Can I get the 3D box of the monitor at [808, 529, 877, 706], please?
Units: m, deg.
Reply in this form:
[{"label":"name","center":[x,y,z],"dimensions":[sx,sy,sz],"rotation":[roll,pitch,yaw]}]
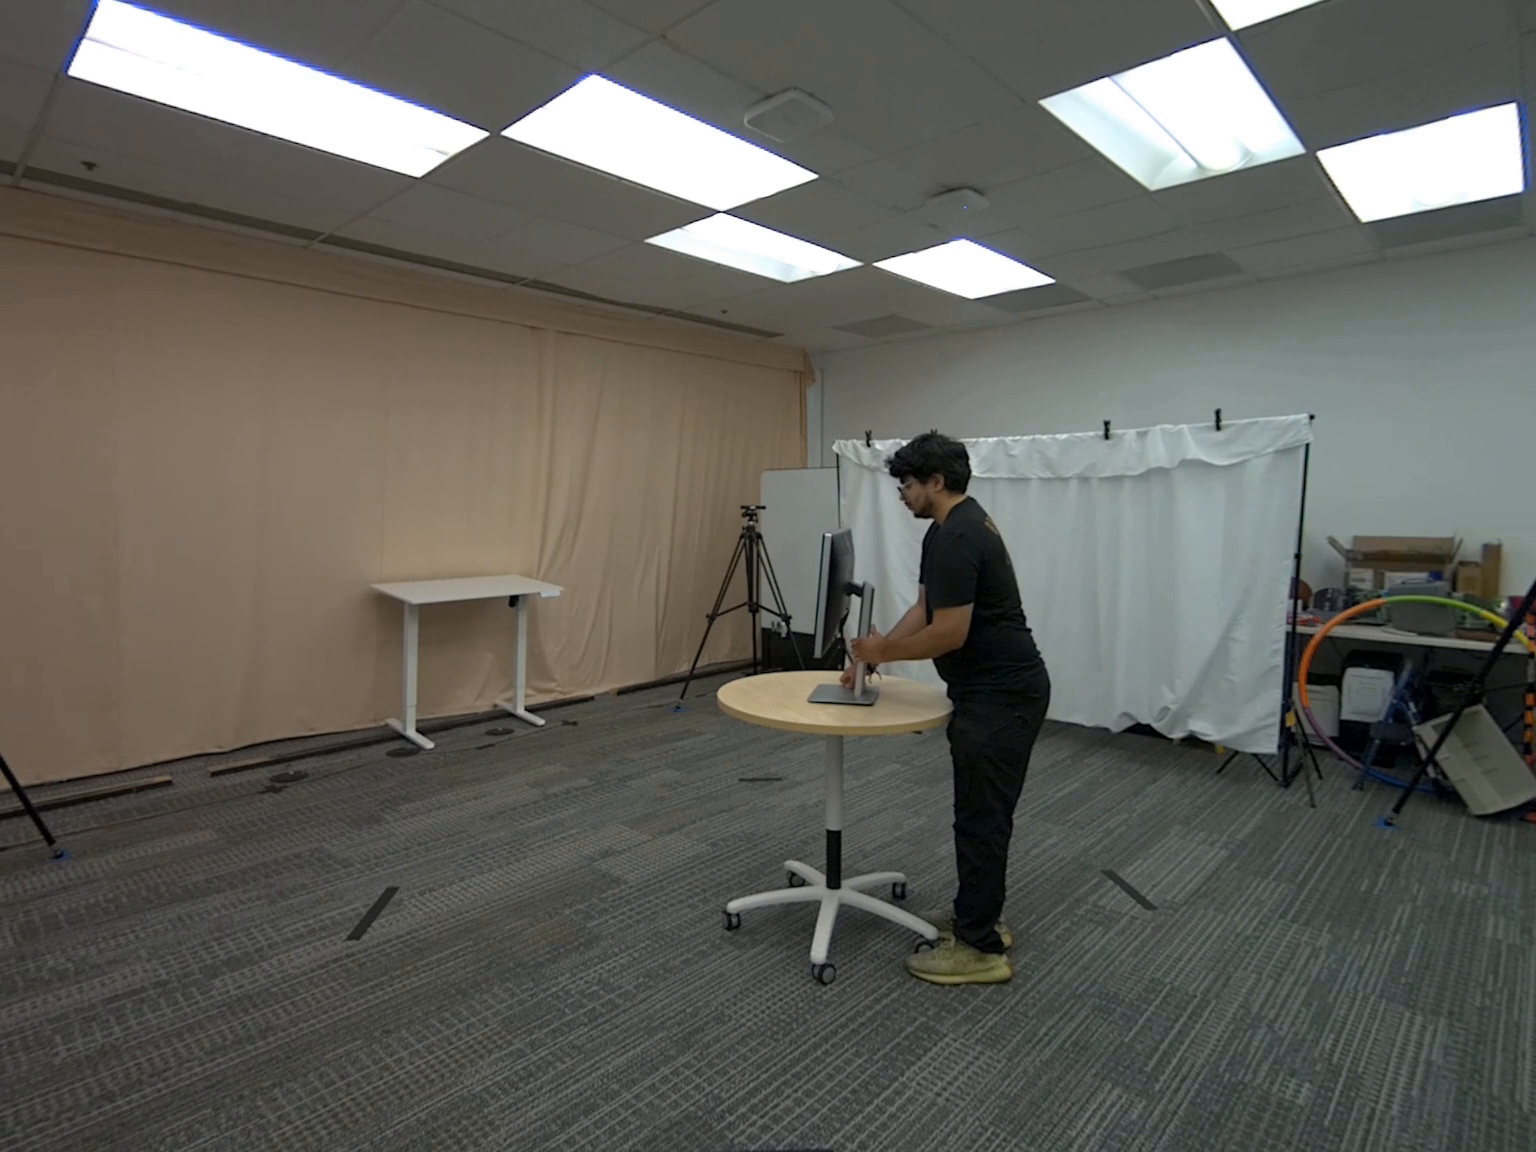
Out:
[{"label":"monitor","center":[0.277,0.129,2.689],"dimensions":[0.214,0.552,0.557],"rotation":[4,5,14]}]
